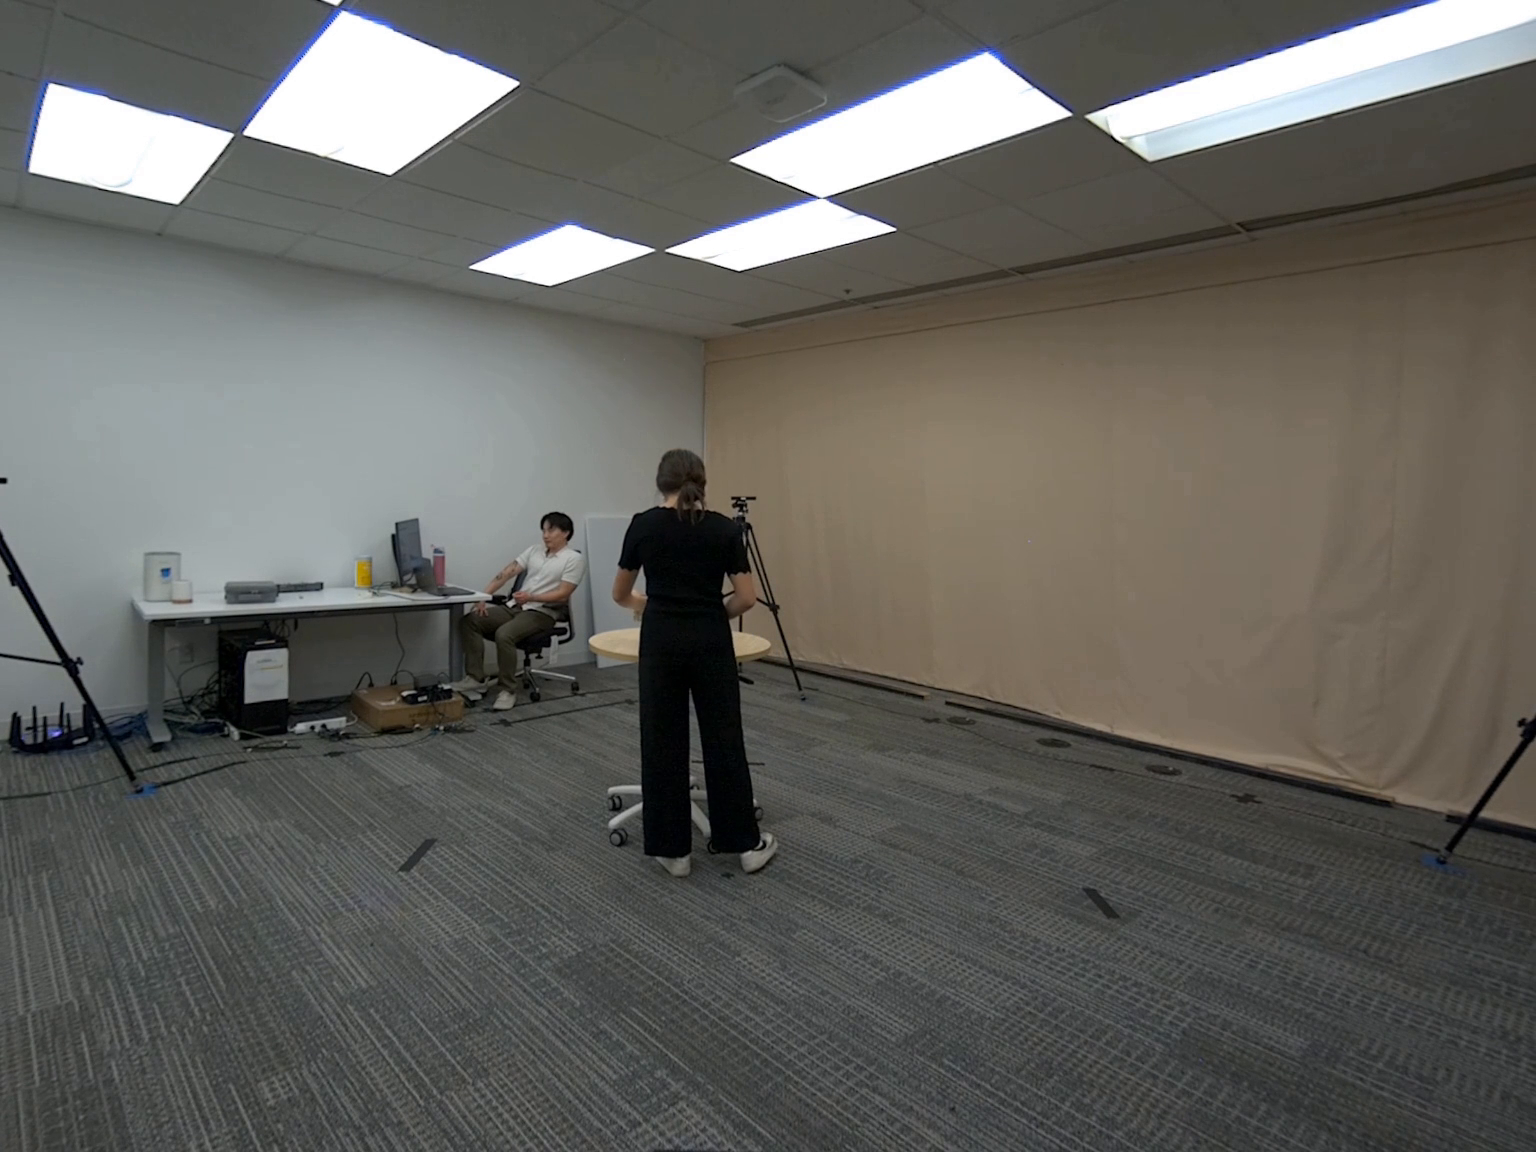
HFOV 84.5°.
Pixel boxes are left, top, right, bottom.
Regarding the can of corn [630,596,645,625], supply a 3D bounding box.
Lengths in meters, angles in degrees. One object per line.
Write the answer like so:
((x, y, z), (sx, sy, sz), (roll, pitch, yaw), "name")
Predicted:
((-0.527, 0.140, 3.516), (0.074, 0.111, 0.074), (4, 0, -1), "can of corn")
